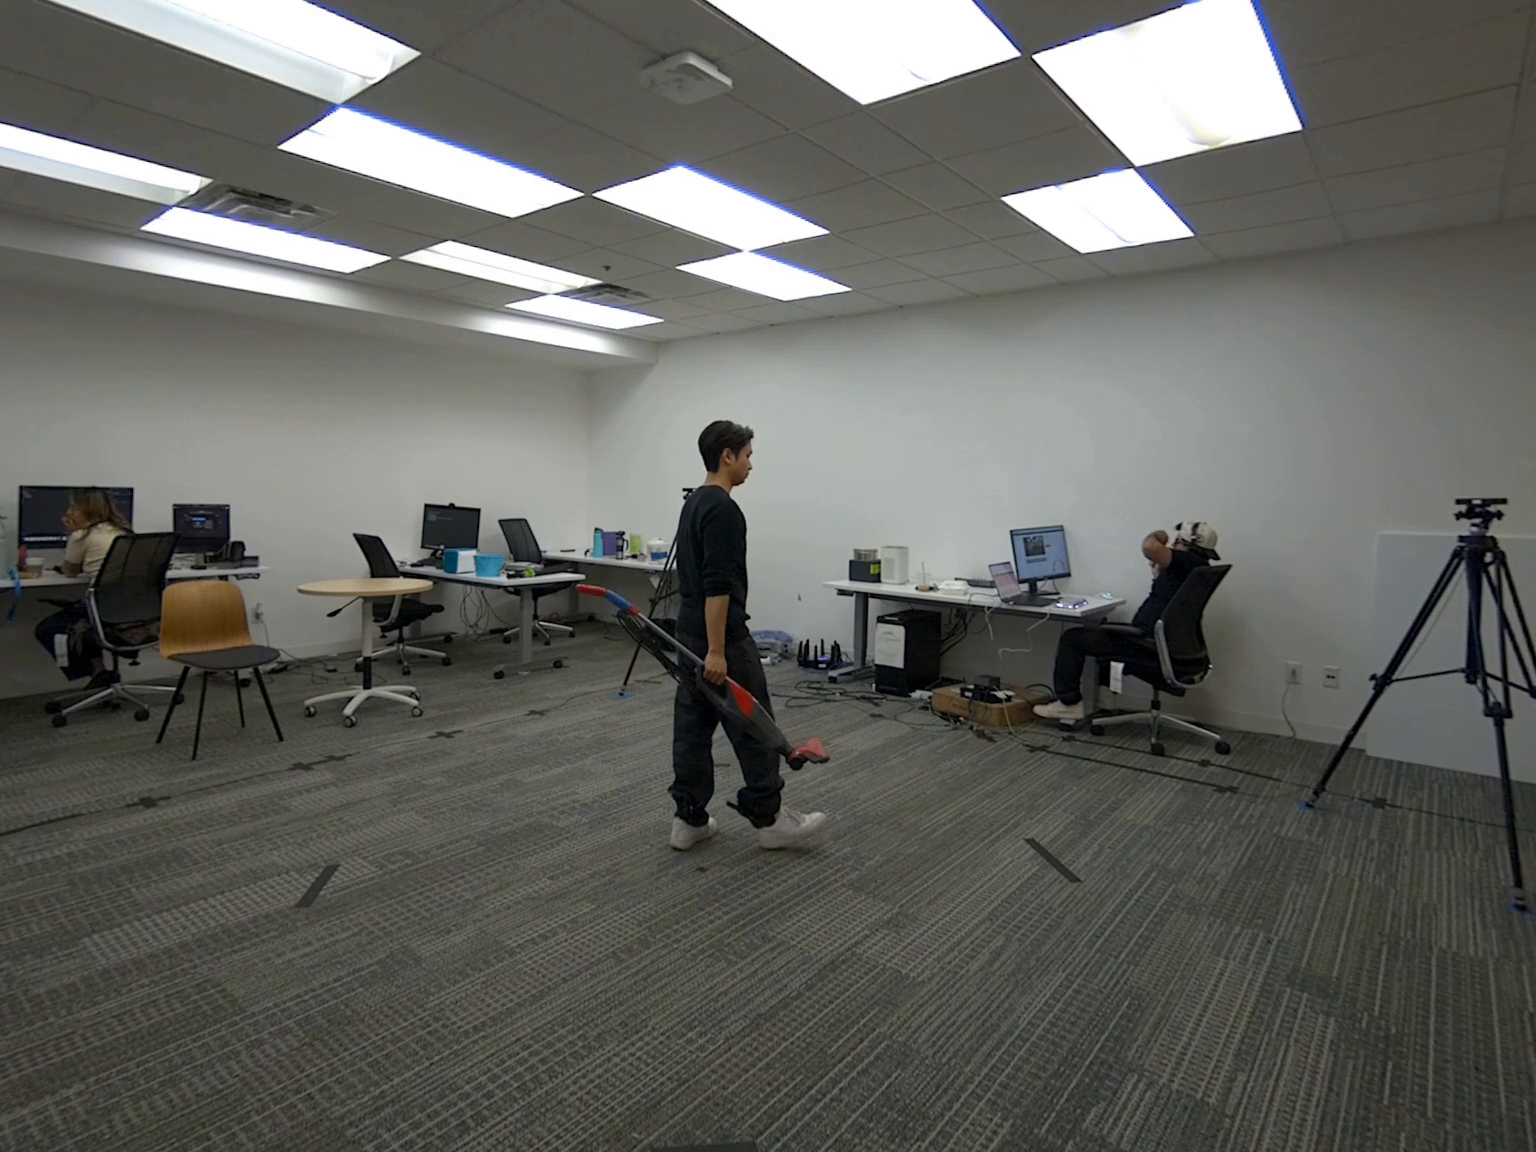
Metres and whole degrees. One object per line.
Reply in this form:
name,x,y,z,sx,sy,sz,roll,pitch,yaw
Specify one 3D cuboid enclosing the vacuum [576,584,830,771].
vacuum,-0.267,0.358,3.117,1.046,0.144,0.253,38,-3,-2
